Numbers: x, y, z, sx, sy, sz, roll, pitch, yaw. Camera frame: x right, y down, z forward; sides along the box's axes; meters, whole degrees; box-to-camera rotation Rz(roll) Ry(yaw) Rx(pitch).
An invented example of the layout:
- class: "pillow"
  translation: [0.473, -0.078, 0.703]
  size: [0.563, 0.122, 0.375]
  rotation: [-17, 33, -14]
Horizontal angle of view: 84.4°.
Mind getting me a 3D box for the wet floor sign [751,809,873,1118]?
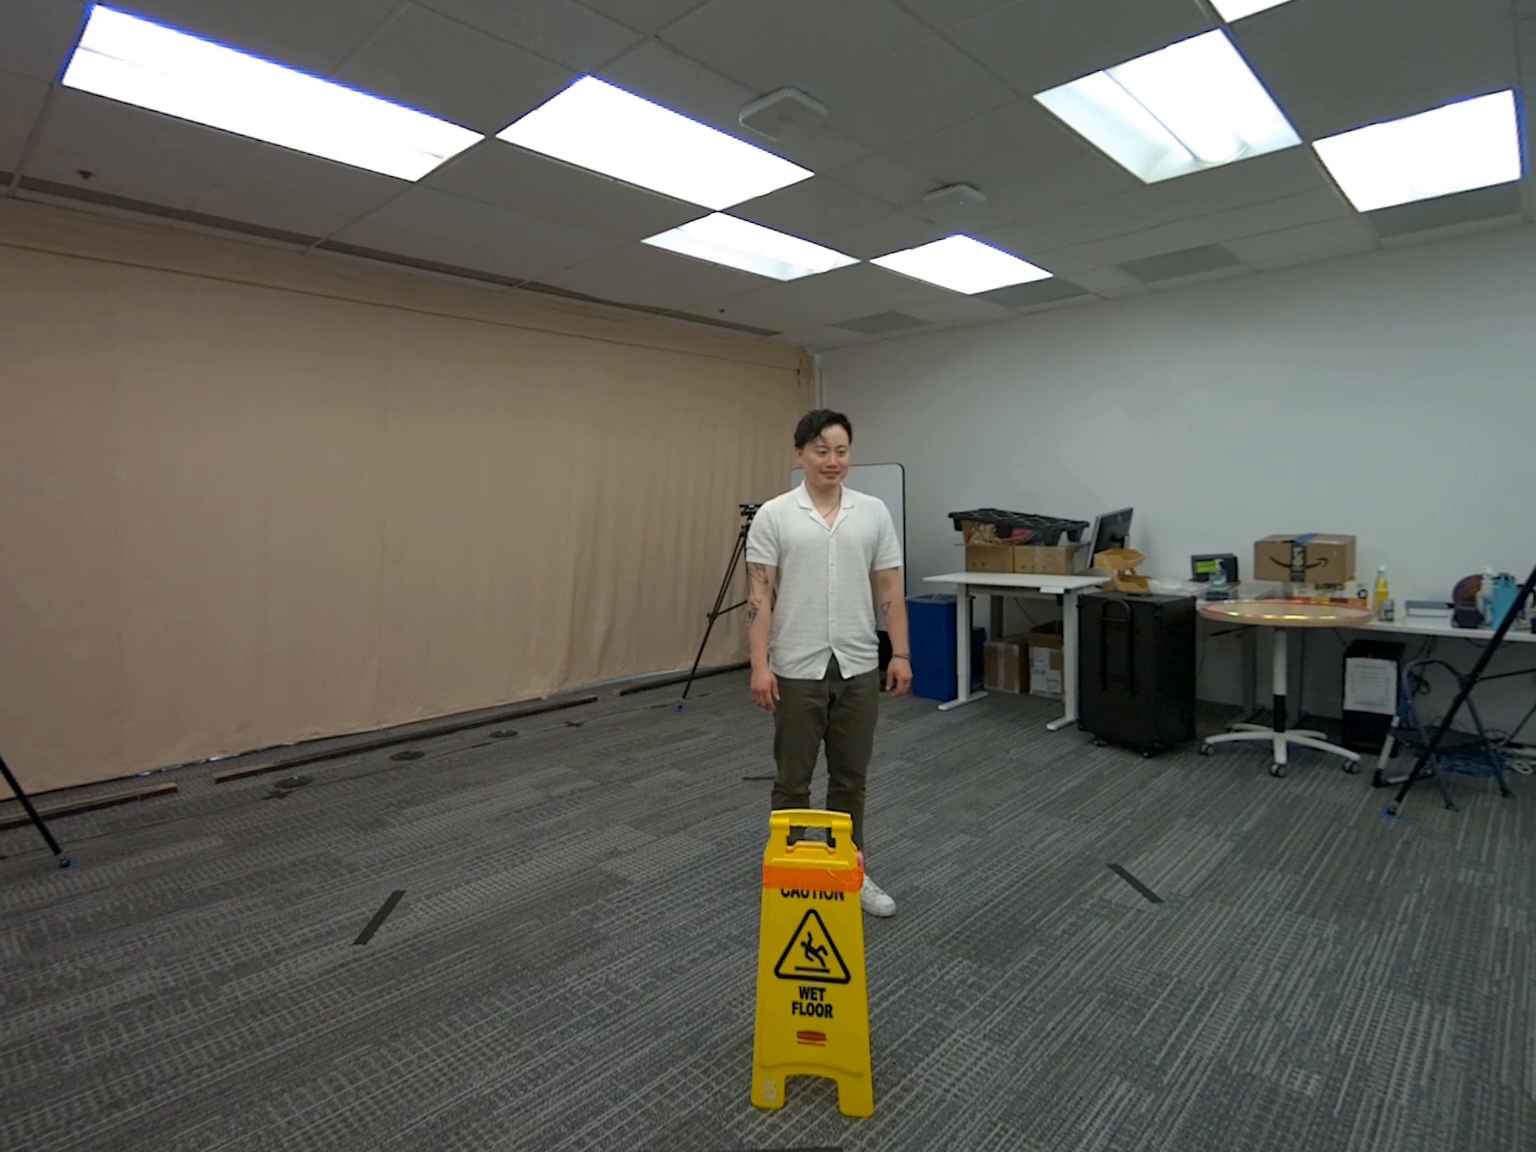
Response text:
- class: "wet floor sign"
  translation: [0.111, 0.892, 2.058]
  size: [0.285, 0.645, 0.287]
  rotation: [1, 3, 8]
